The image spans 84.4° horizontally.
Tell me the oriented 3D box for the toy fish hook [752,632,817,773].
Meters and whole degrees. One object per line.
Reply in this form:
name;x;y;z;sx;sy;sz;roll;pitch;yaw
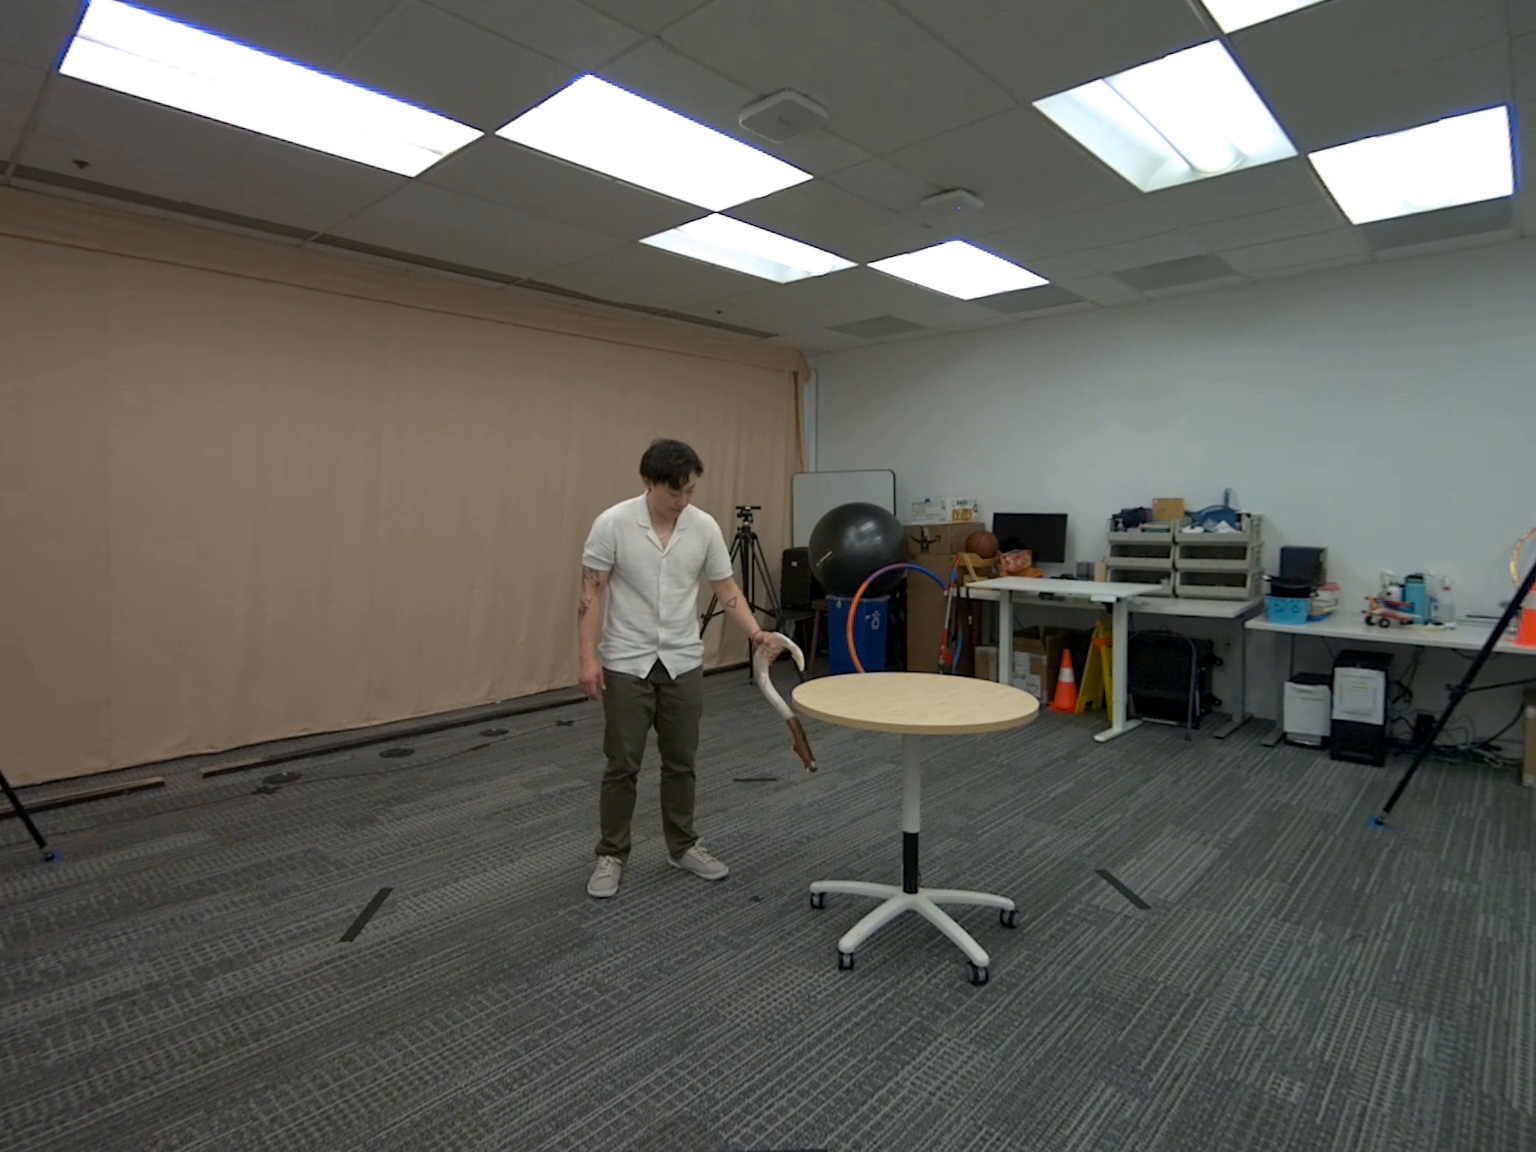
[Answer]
toy fish hook;0.094;0.428;2.902;0.046;0.522;0.226;10;-49;-42
